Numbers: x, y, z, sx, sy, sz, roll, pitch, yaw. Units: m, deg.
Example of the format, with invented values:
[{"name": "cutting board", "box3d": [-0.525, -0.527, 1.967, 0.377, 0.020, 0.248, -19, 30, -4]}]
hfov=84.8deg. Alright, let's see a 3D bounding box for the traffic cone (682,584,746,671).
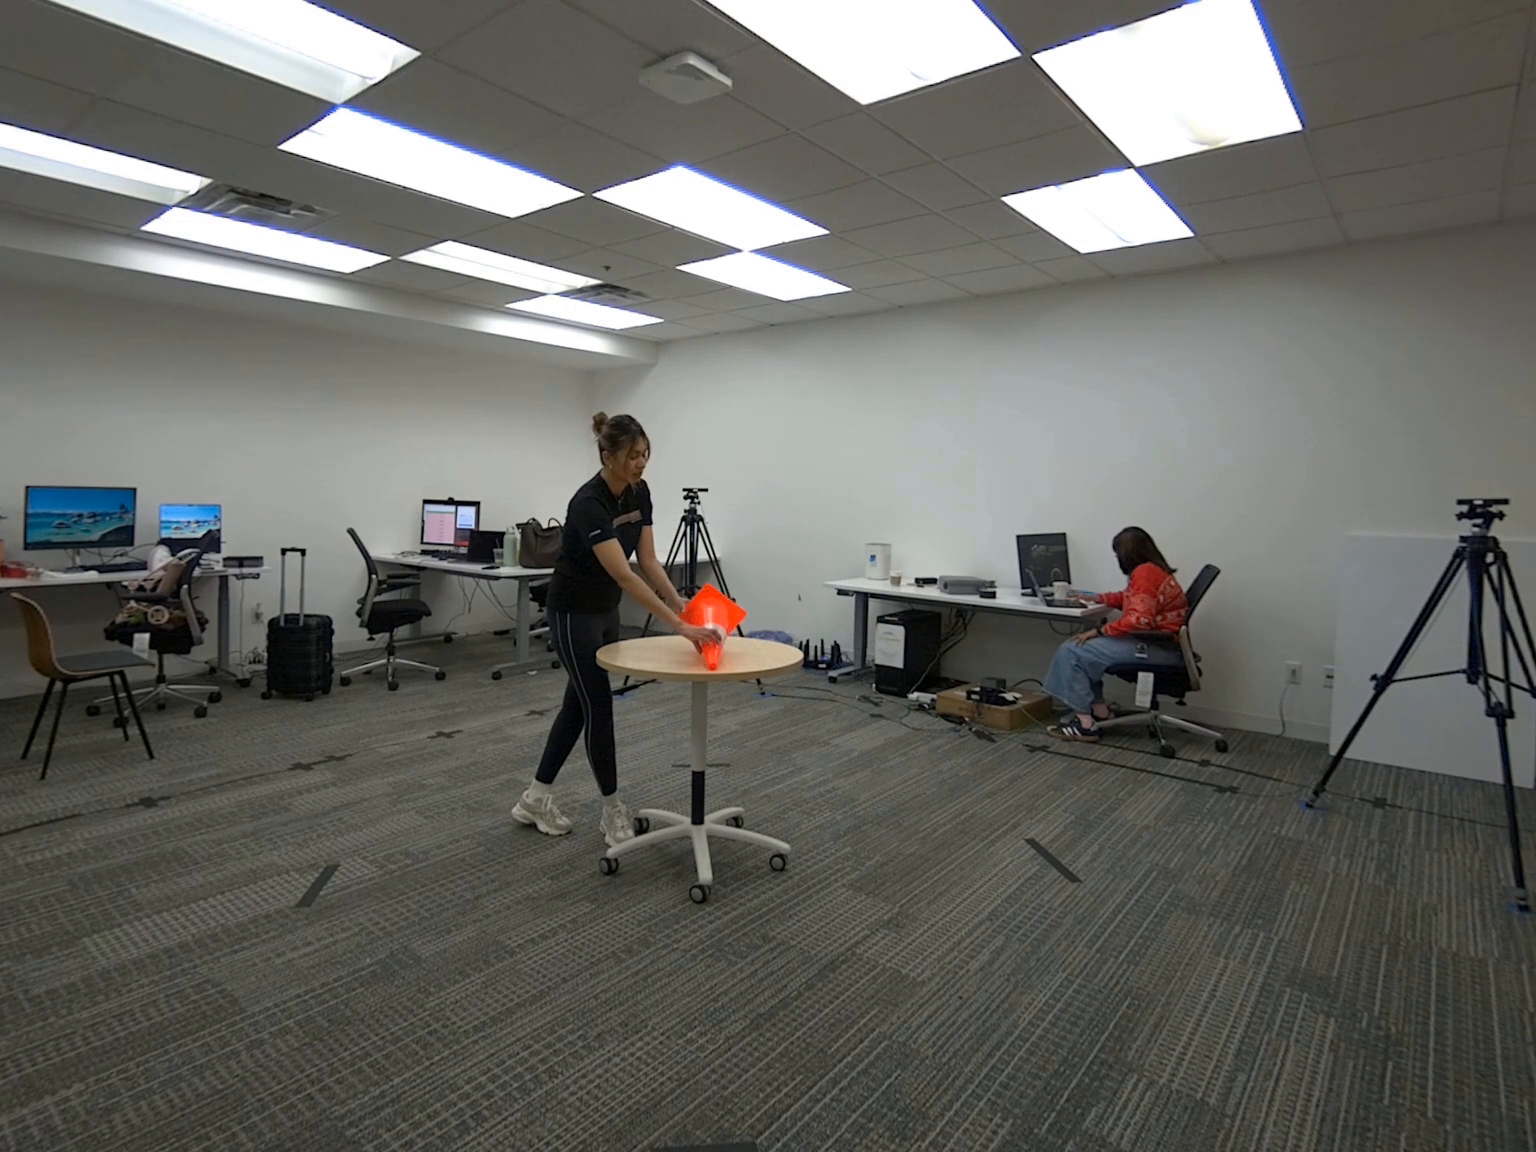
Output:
[{"name": "traffic cone", "box3d": [-0.212, 0.227, 3.001, 0.200, 0.204, 0.391, 31, 17, -12]}]
